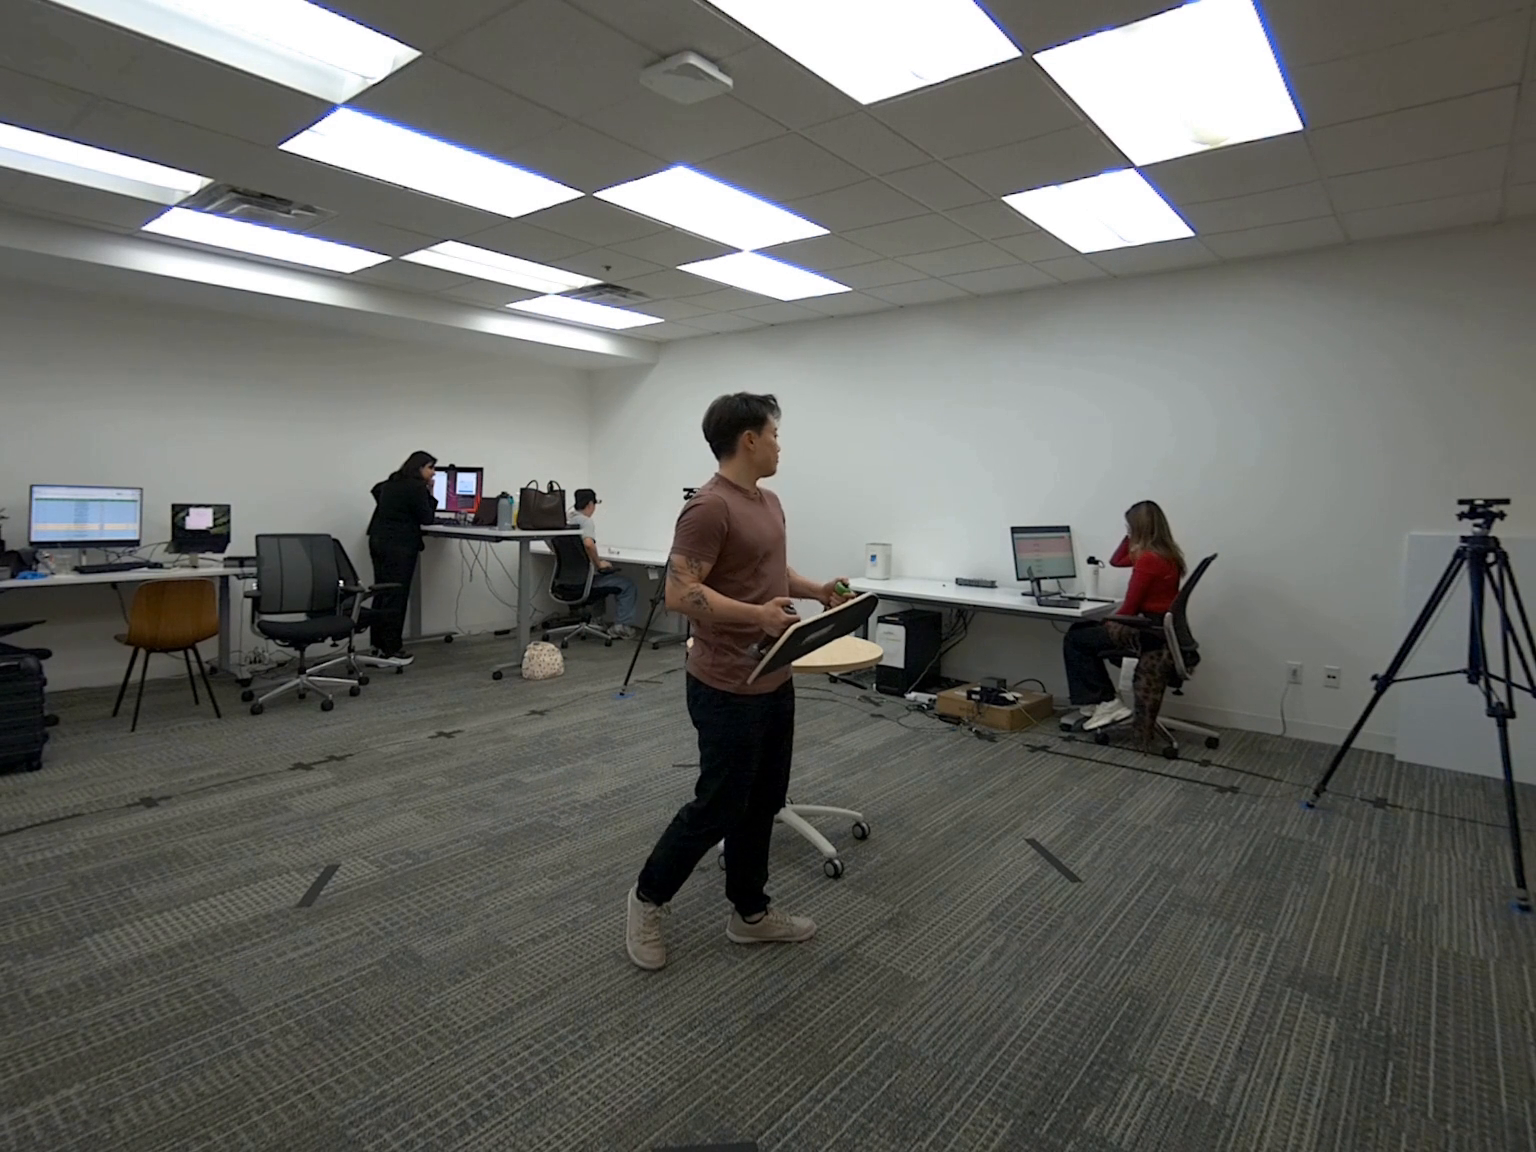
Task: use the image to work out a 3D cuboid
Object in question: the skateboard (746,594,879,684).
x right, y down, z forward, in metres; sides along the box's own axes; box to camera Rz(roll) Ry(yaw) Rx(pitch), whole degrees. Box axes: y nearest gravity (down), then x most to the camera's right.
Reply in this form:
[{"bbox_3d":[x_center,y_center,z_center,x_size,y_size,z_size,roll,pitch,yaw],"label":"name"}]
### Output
[{"bbox_3d":[0.099,0.137,2.453,0.113,0.193,0.767,46,26,16],"label":"skateboard"}]
